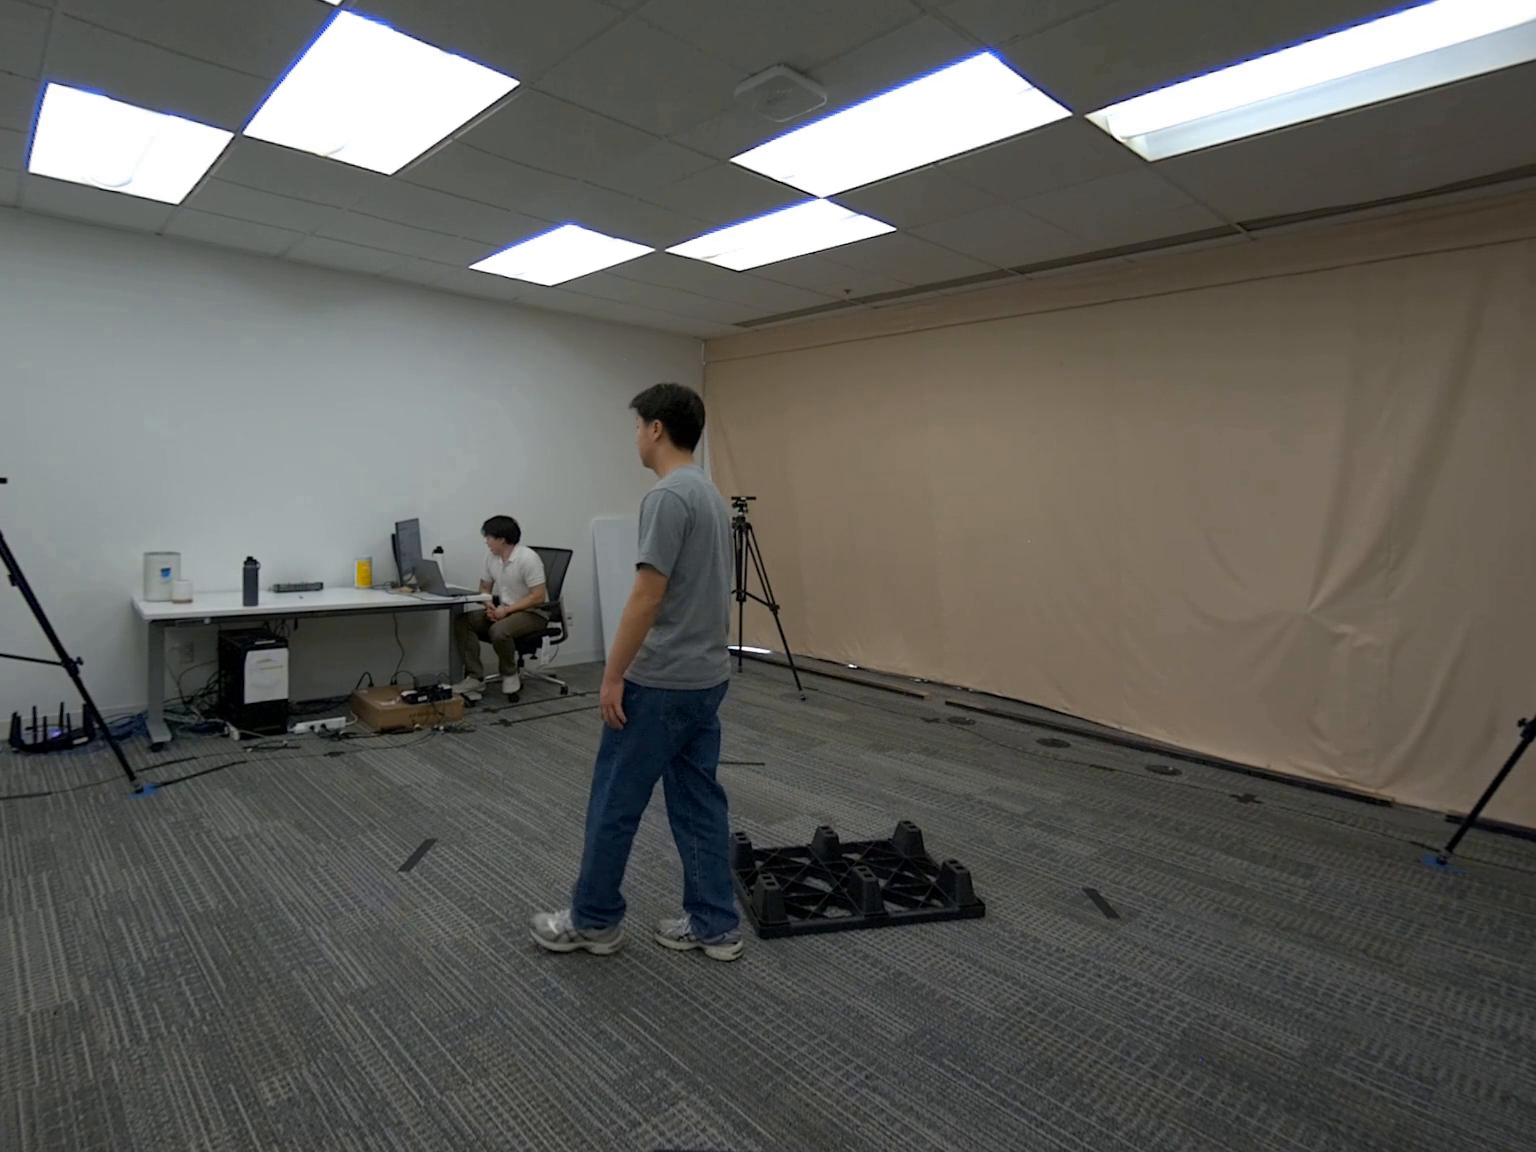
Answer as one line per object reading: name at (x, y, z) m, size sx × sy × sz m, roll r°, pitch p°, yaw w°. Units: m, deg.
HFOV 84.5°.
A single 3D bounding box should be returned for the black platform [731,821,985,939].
black platform at (0.270, 1.053, 3.036) m, size 0.796 × 0.143 × 0.614 m, roll 0°, pitch 6°, yaw -16°
